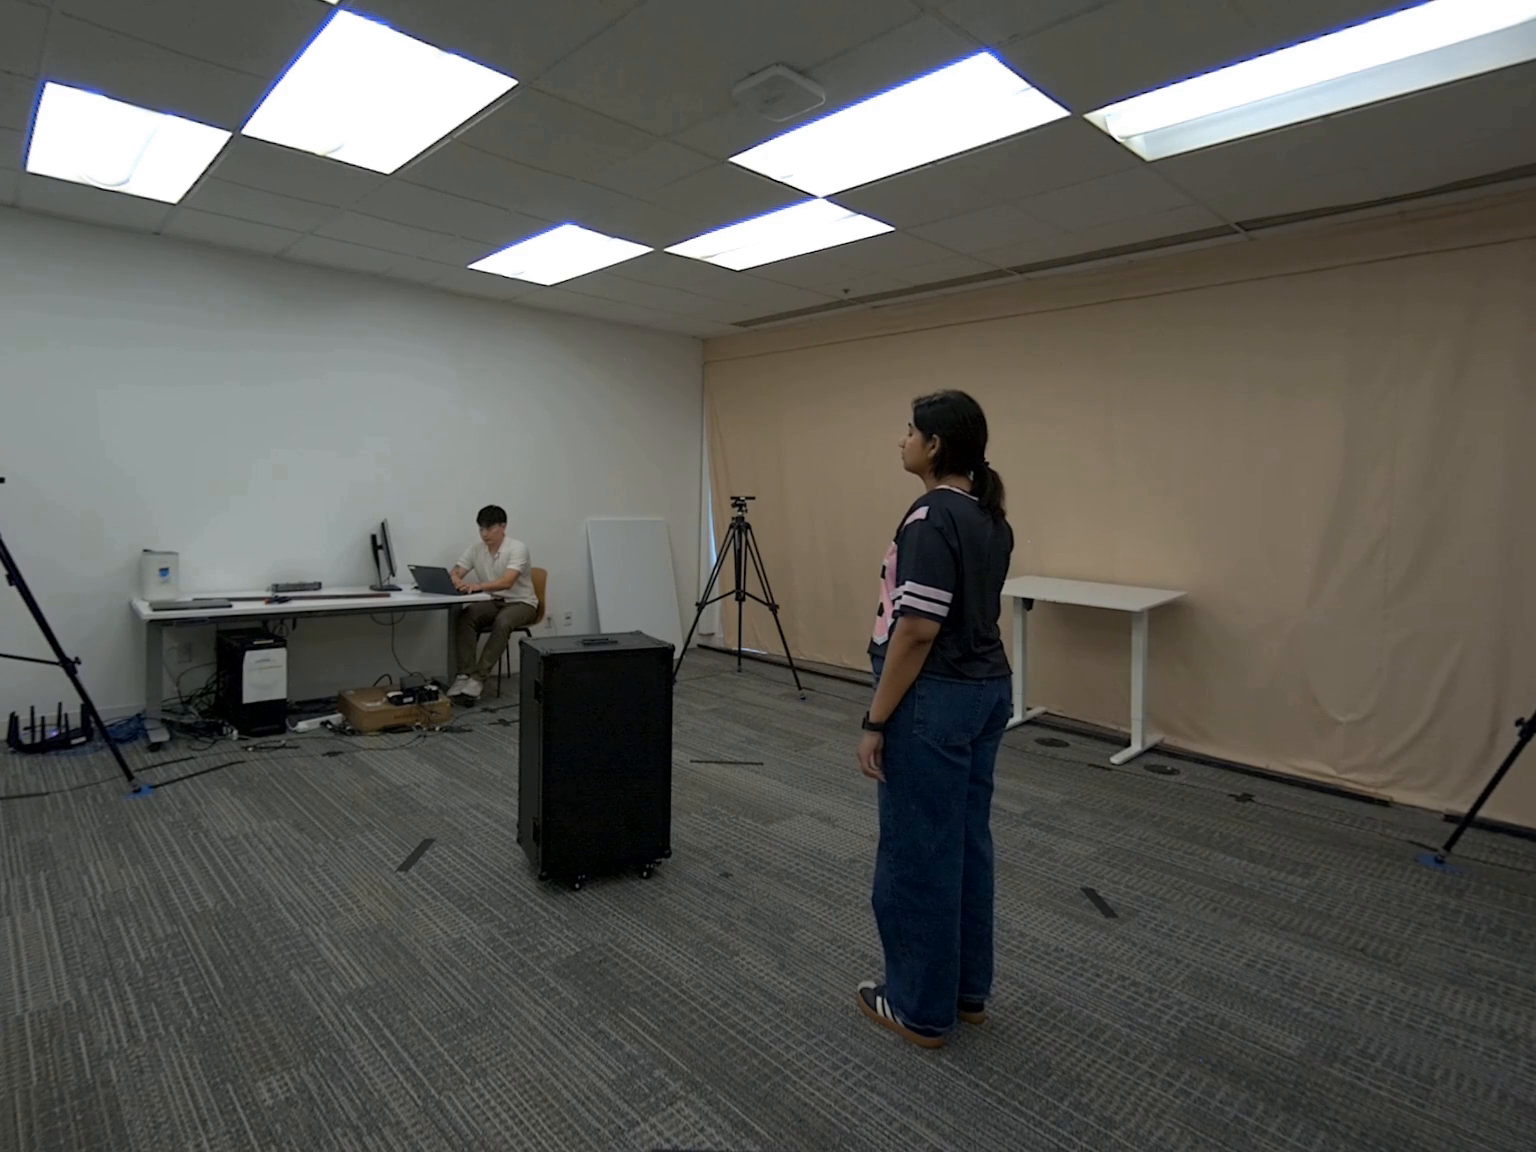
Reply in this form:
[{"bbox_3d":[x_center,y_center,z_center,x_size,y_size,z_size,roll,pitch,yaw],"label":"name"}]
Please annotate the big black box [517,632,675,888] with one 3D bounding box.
[{"bbox_3d":[-0.657,0.669,3.110,0.513,0.867,0.393,0,3,-29],"label":"big black box"}]
